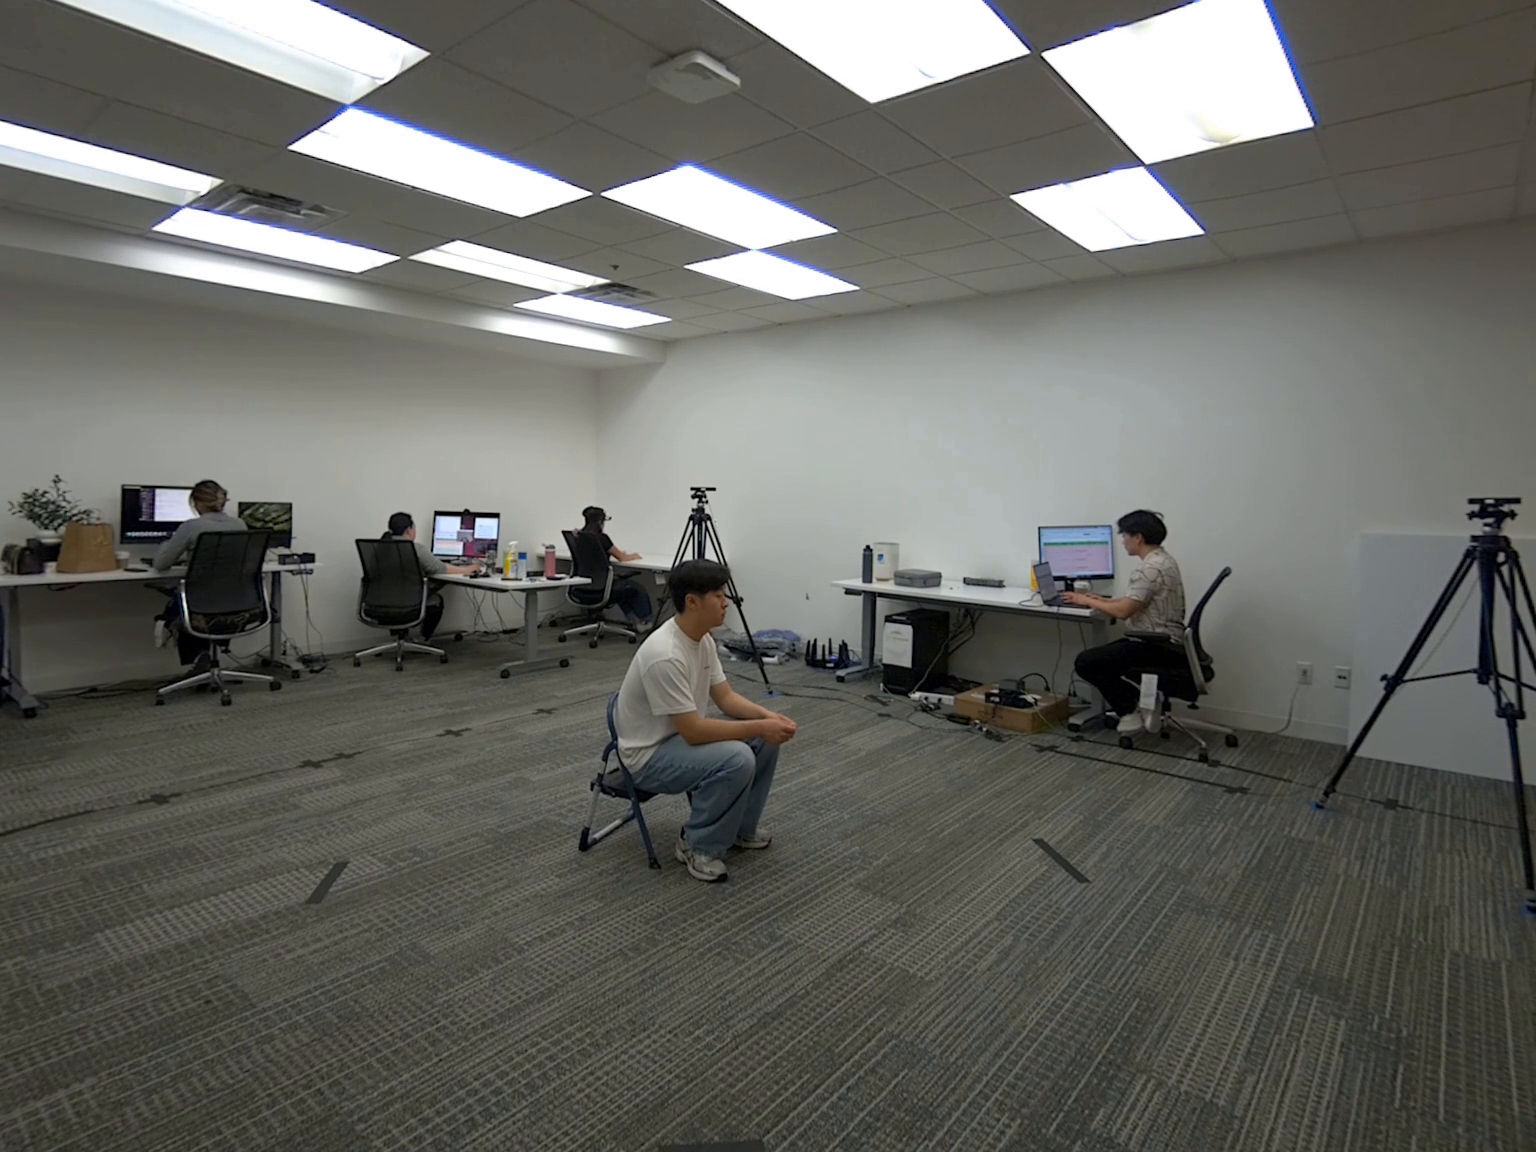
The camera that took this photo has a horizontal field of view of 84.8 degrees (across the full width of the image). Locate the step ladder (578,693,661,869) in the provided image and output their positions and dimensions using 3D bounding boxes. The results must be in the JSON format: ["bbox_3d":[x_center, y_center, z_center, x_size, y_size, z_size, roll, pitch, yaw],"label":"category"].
[{"bbox_3d":[-0.501,0.738,3.347,0.357,0.605,0.421,2,3,22],"label":"step ladder"}]
